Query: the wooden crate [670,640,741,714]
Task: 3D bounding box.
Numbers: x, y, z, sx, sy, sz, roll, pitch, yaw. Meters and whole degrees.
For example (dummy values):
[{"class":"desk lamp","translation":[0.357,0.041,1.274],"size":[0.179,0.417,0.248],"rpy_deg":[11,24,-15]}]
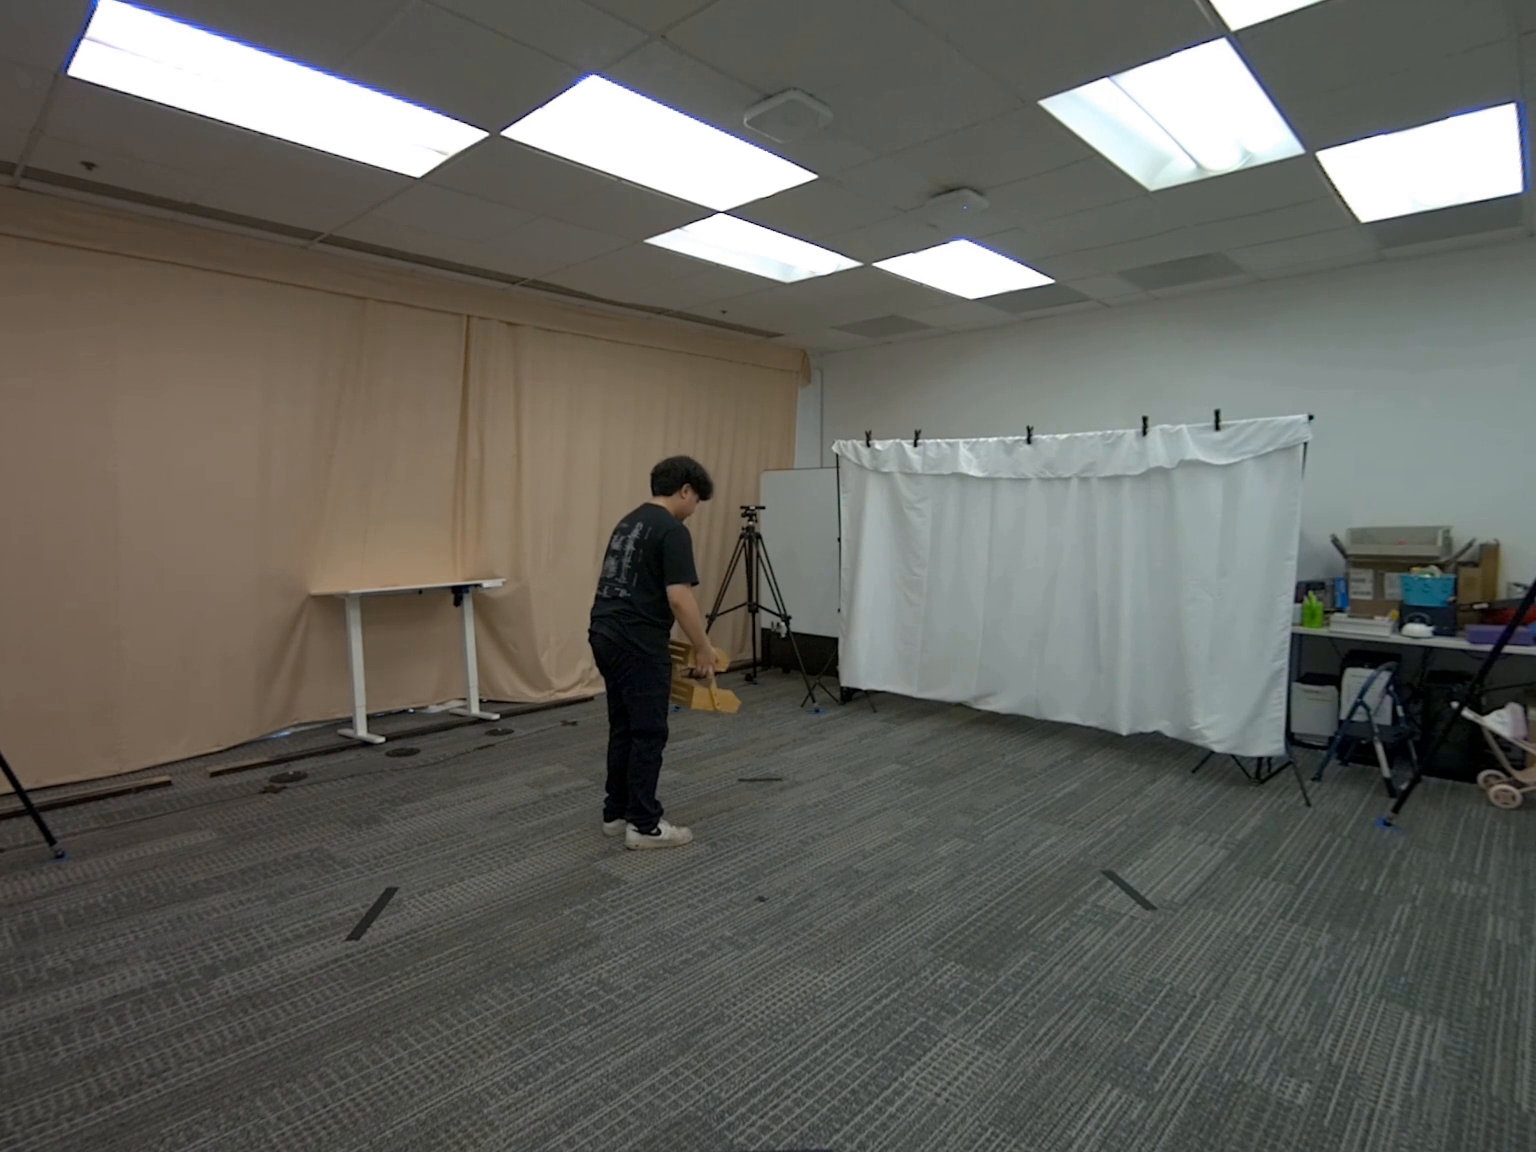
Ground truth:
[{"class":"wooden crate","translation":[-0.303,0.430,3.676],"size":[0.292,0.274,0.334],"rpy_deg":[12,-4,-35]}]
